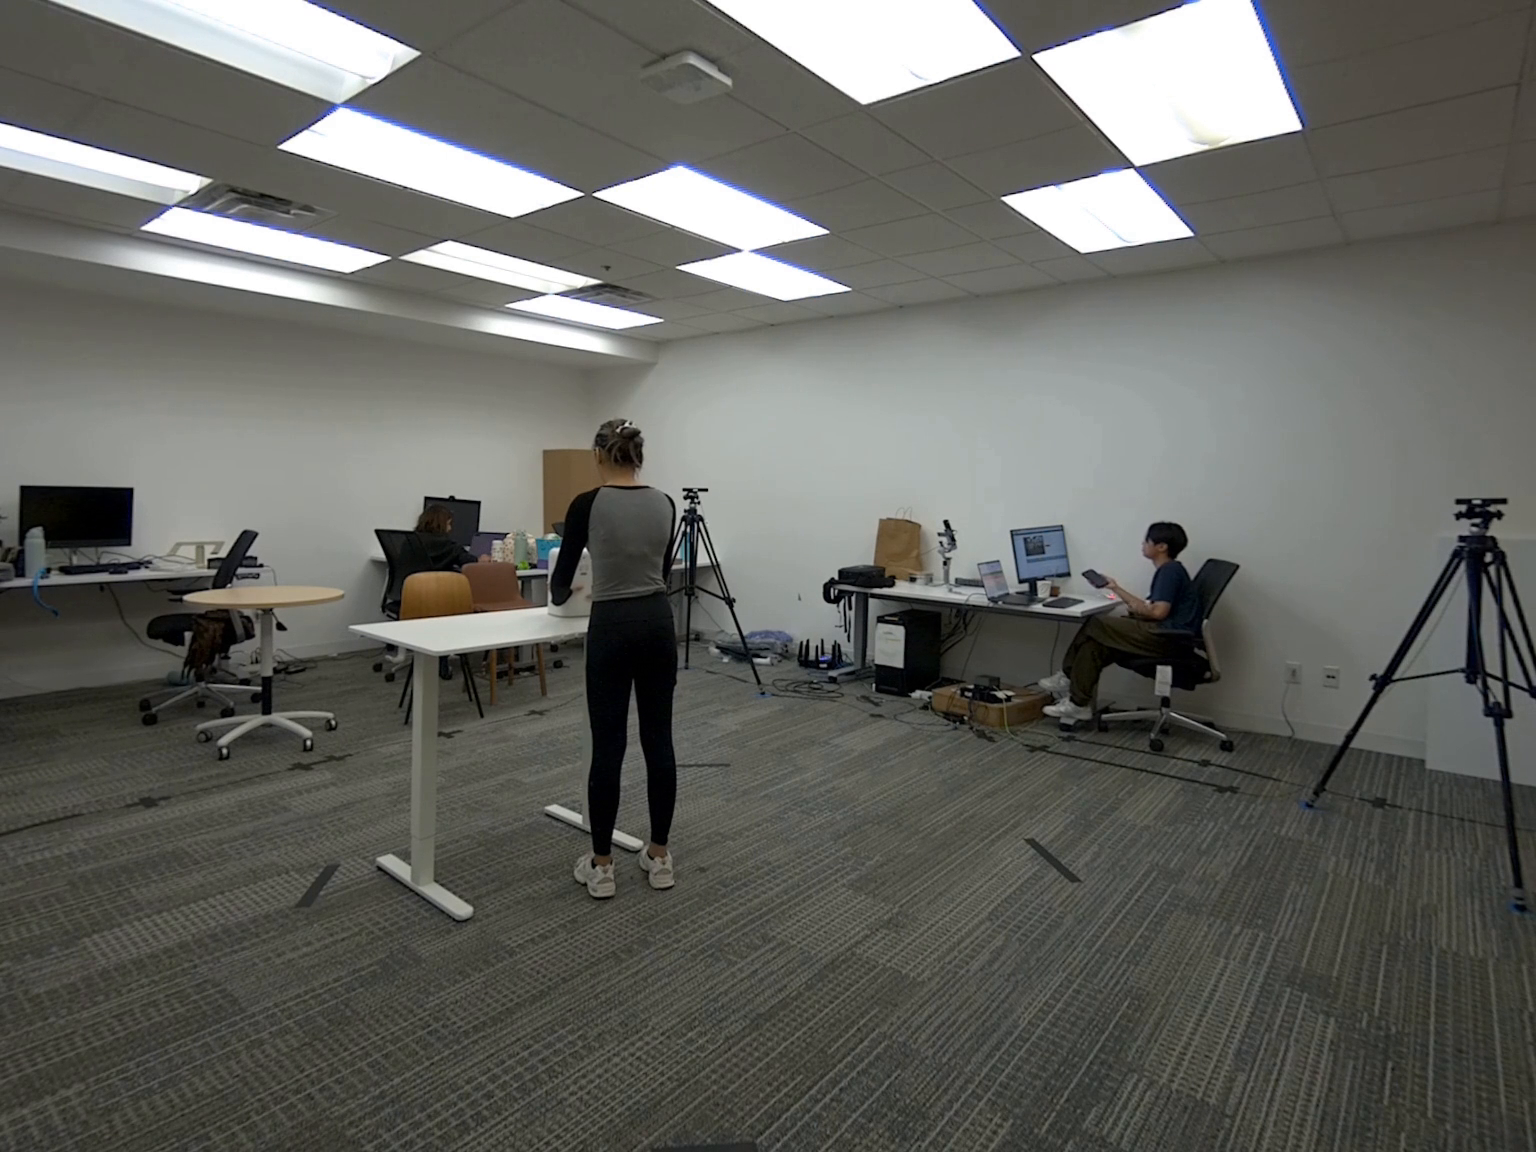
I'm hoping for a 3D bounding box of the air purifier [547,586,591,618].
[{"bbox_3d":[-0.787,0.018,3.392,0.166,0.265,0.177,1,3,-40],"label":"air purifier"}]
